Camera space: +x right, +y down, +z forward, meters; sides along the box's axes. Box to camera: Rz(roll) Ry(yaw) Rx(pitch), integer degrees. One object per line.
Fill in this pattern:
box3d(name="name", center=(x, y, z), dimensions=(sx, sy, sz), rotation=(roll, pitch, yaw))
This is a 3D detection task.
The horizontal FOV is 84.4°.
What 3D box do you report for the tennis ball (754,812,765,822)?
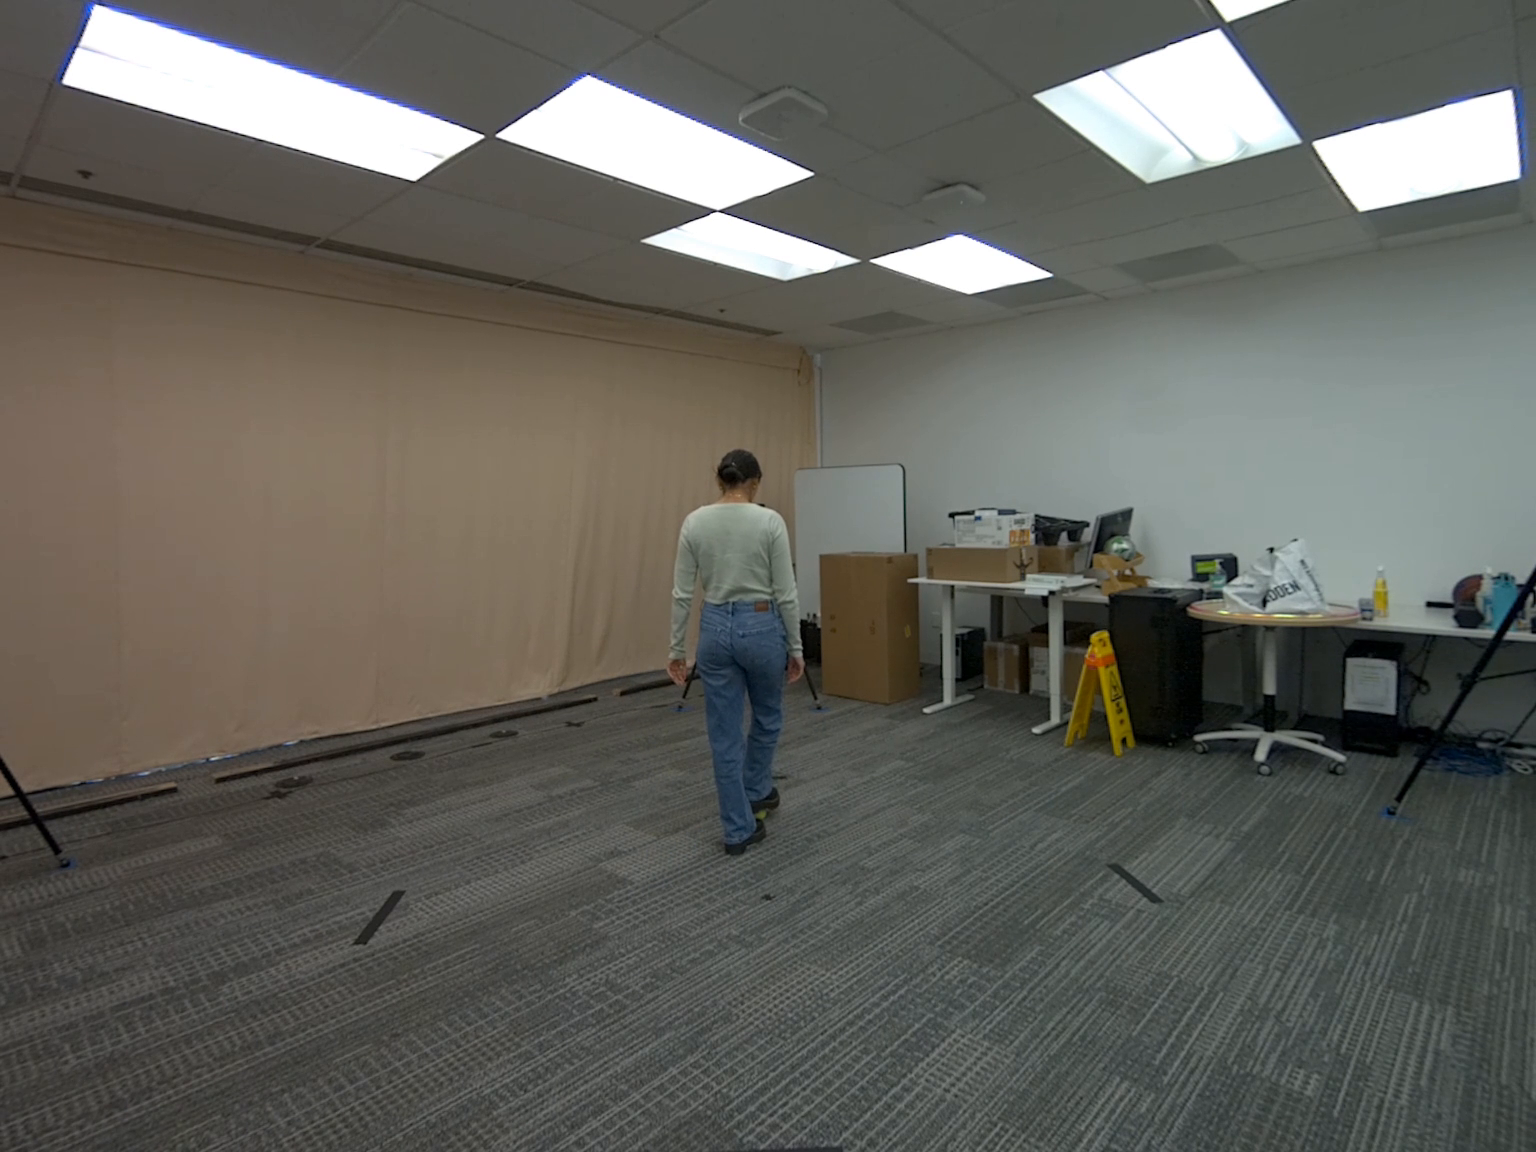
box3d(name="tennis ball", center=(-0.047, 1.035, 3.744), dimensions=(0.066, 0.066, 0.067), rotation=(-1, 4, -2))
